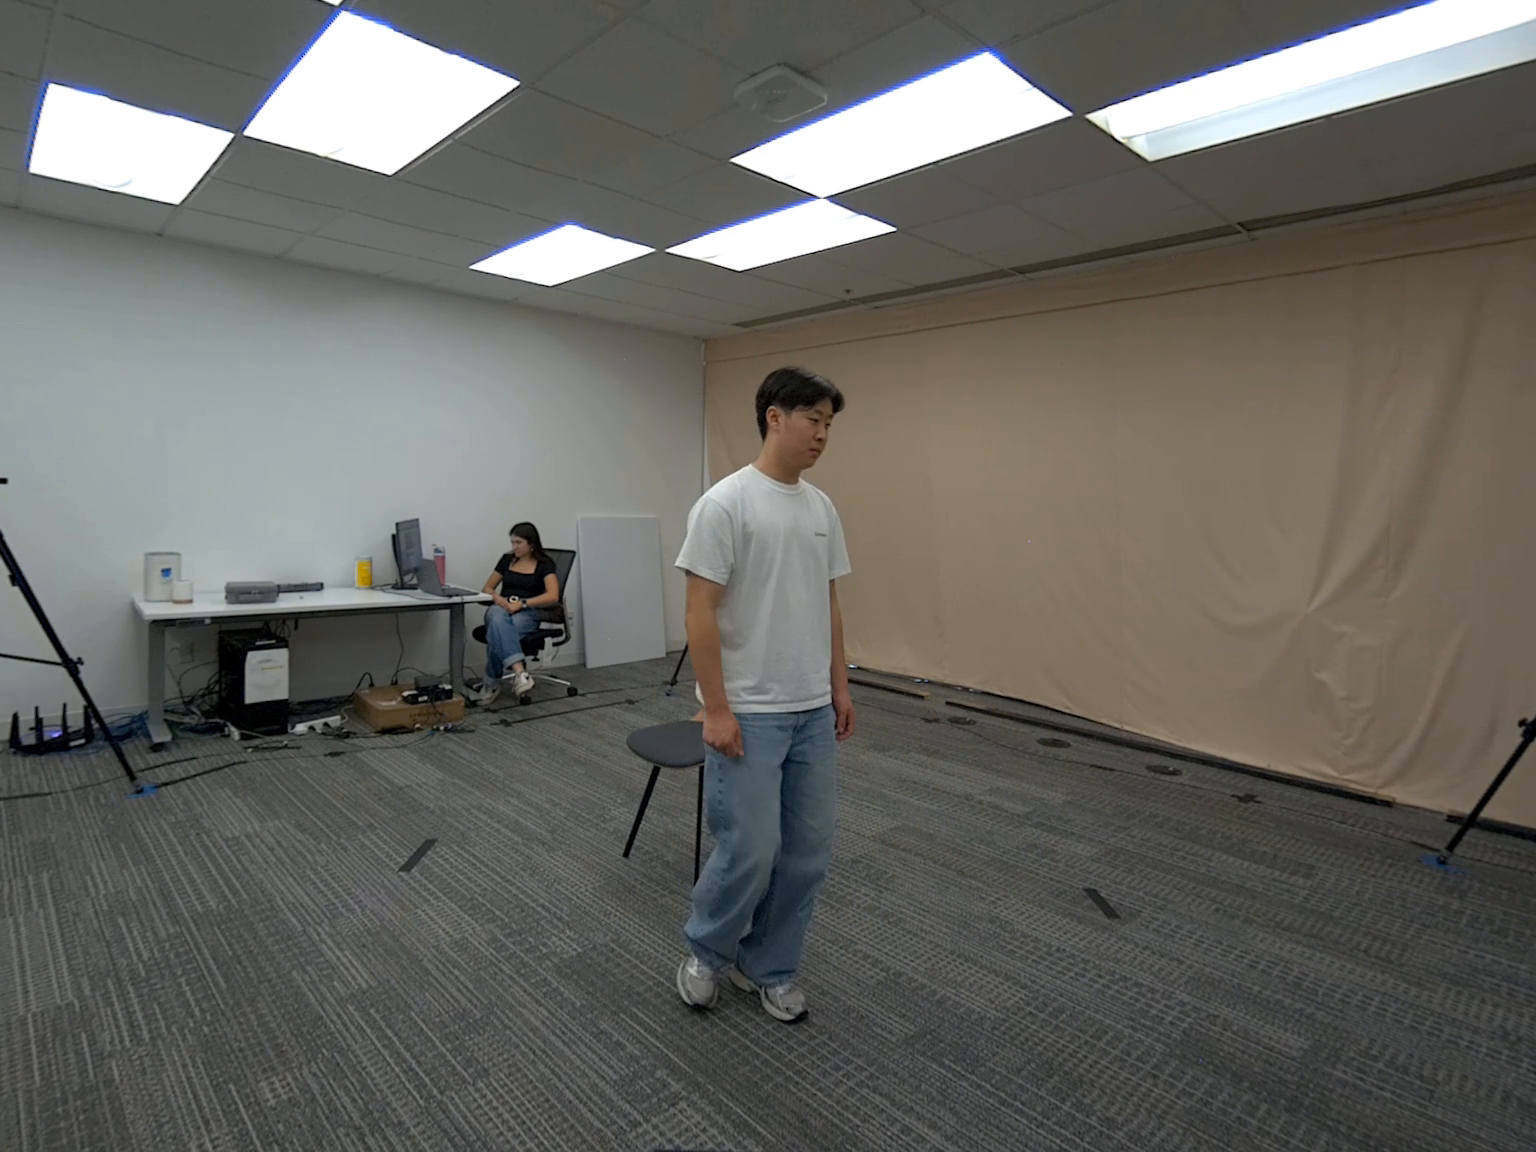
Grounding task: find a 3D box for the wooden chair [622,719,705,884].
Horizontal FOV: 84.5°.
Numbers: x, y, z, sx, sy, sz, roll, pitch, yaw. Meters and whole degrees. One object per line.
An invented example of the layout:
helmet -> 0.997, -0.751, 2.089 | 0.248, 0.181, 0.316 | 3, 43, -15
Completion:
wooden chair -> -0.244, 0.673, 3.188 | 0.510, 0.877, 0.490 | 4, 1, -42
